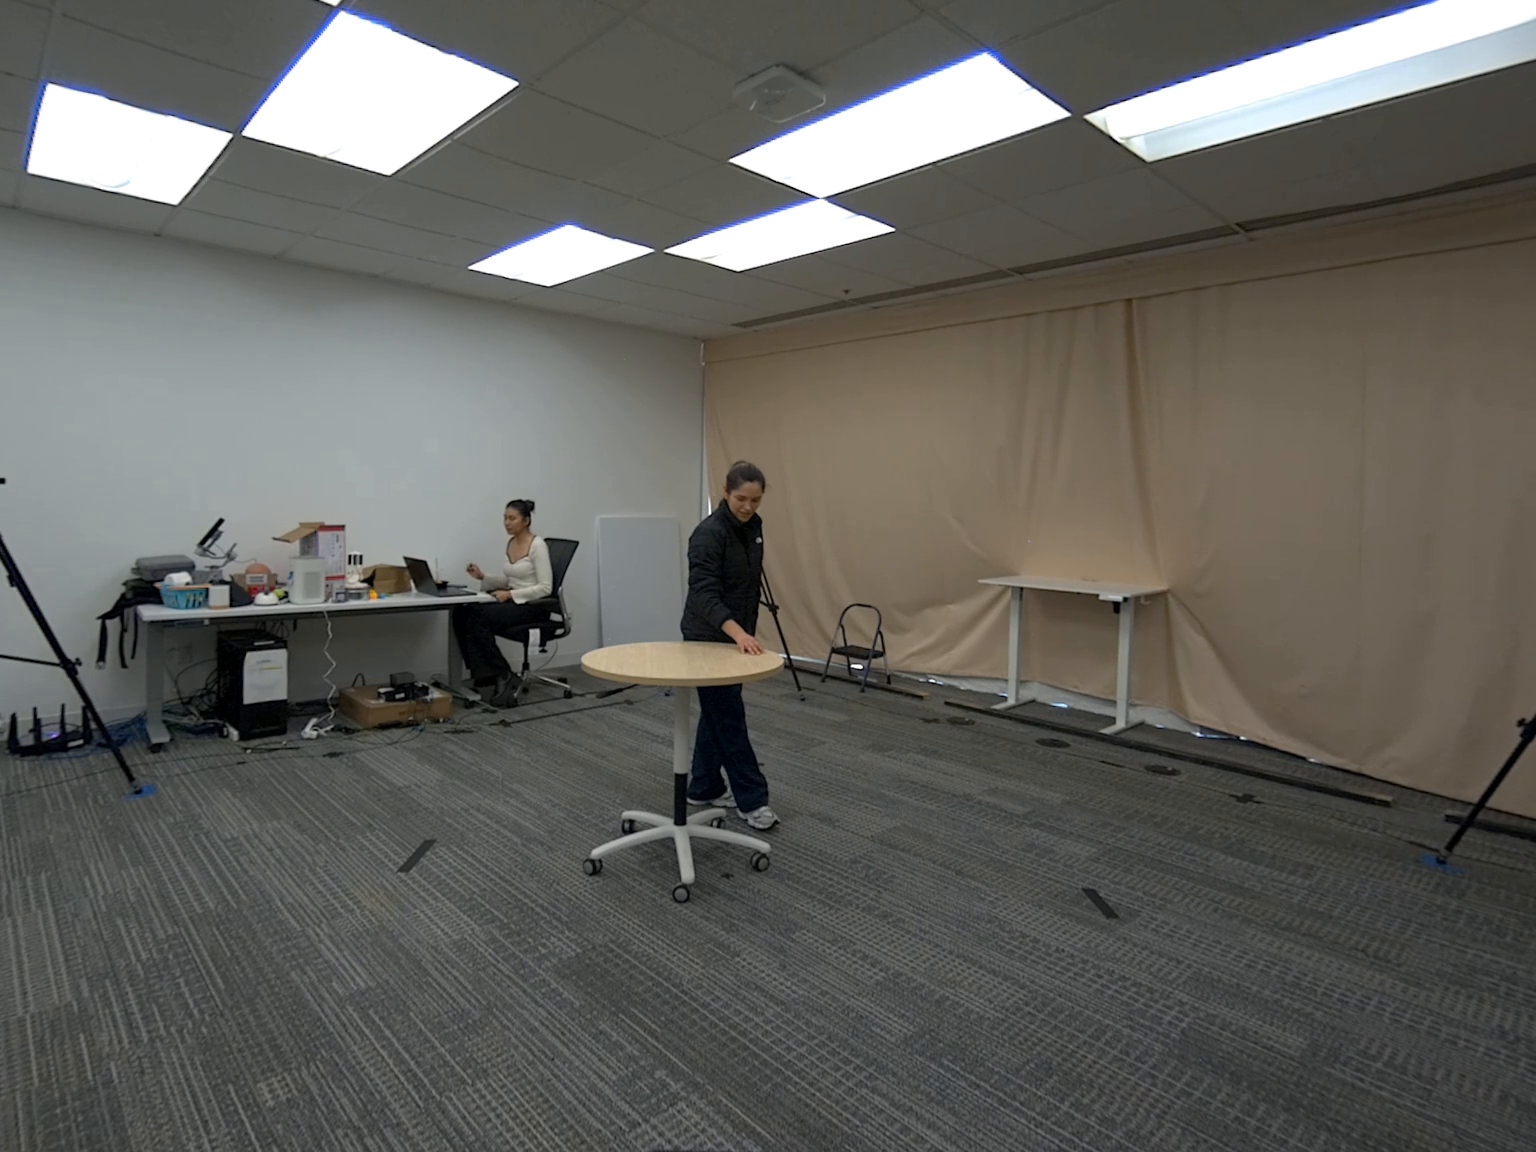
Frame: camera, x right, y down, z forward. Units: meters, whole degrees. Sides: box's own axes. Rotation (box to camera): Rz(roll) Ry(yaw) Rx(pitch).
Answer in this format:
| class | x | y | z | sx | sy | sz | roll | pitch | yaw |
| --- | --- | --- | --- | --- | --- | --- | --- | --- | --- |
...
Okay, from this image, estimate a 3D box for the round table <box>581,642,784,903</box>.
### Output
| class | x | y | z | sx | sy | sz | roll | pitch | yaw |
| --- | --- | --- | --- | --- | --- | --- | --- | --- | --- |
| round table | -0.330 | 0.700 | 3.205 | 0.784 | 0.785 | 0.787 | 1 | 4 | -1 |
